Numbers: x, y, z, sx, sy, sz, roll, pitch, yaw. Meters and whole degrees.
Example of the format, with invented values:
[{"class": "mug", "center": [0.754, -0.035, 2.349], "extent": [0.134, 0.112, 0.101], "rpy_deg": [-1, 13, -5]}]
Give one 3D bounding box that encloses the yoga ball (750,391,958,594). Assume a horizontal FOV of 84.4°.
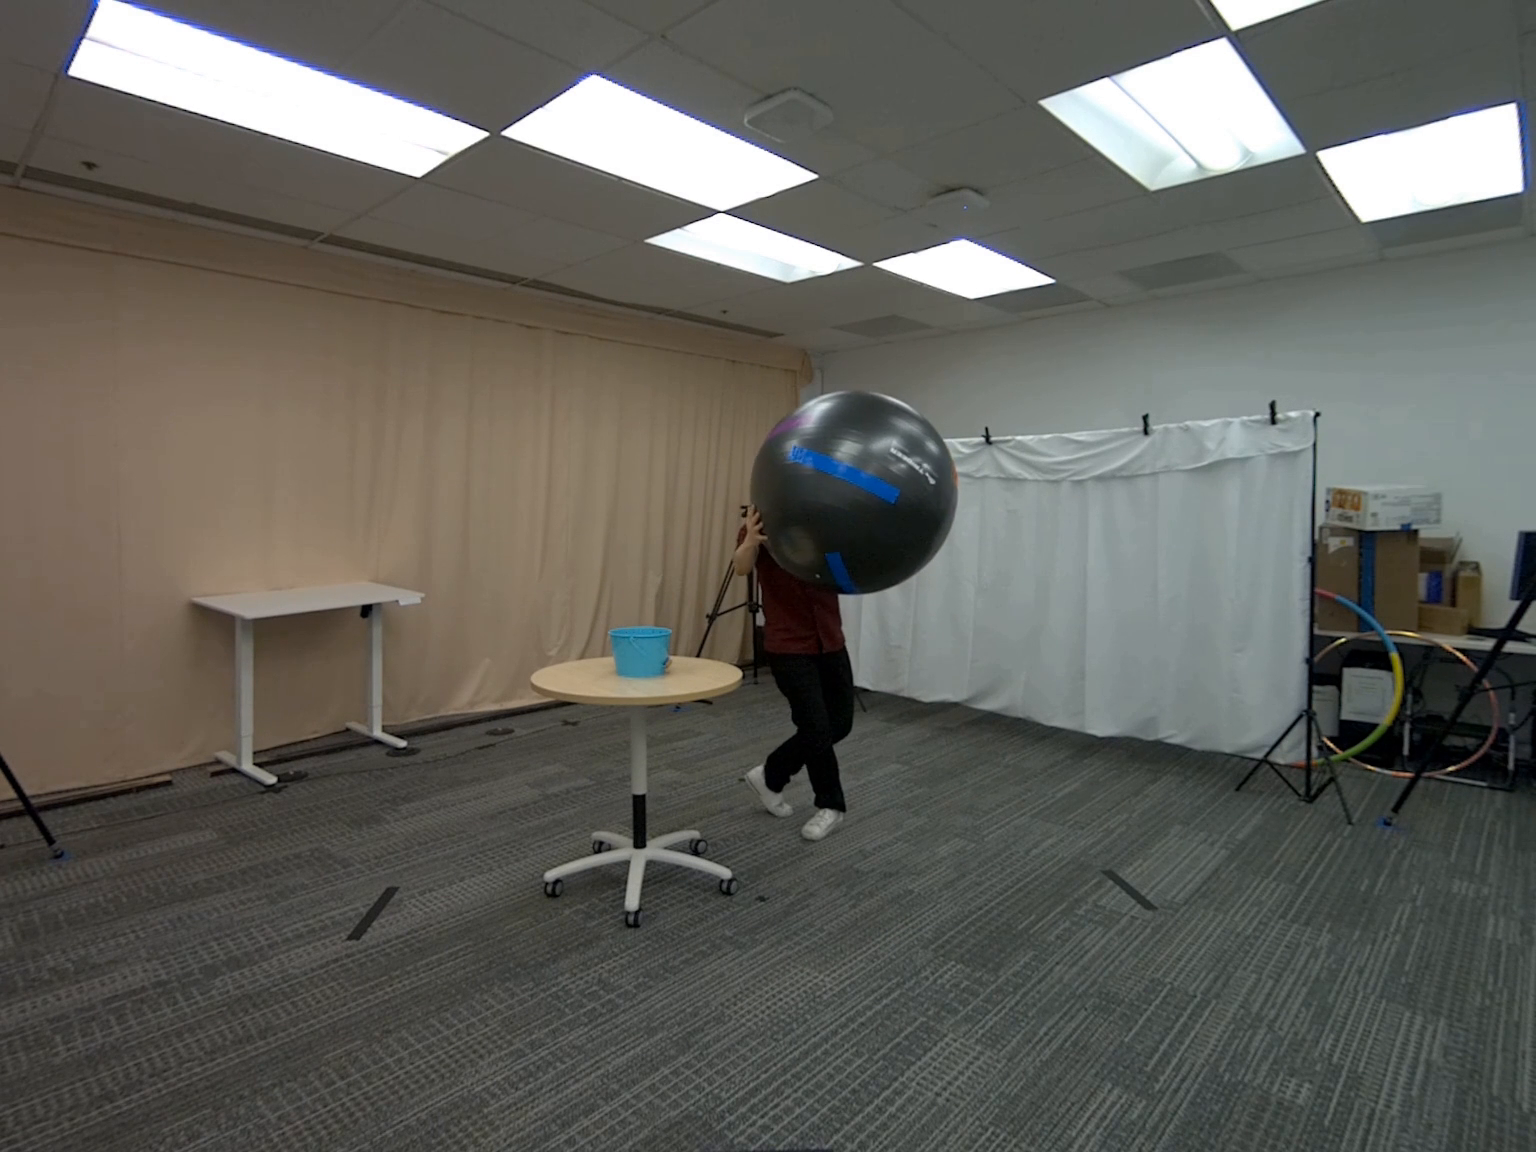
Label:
[{"class": "yoga ball", "center": [0.317, -0.301, 3.143], "extent": [0.757, 0.756, 0.761], "rpy_deg": [0, 4, -2]}]
